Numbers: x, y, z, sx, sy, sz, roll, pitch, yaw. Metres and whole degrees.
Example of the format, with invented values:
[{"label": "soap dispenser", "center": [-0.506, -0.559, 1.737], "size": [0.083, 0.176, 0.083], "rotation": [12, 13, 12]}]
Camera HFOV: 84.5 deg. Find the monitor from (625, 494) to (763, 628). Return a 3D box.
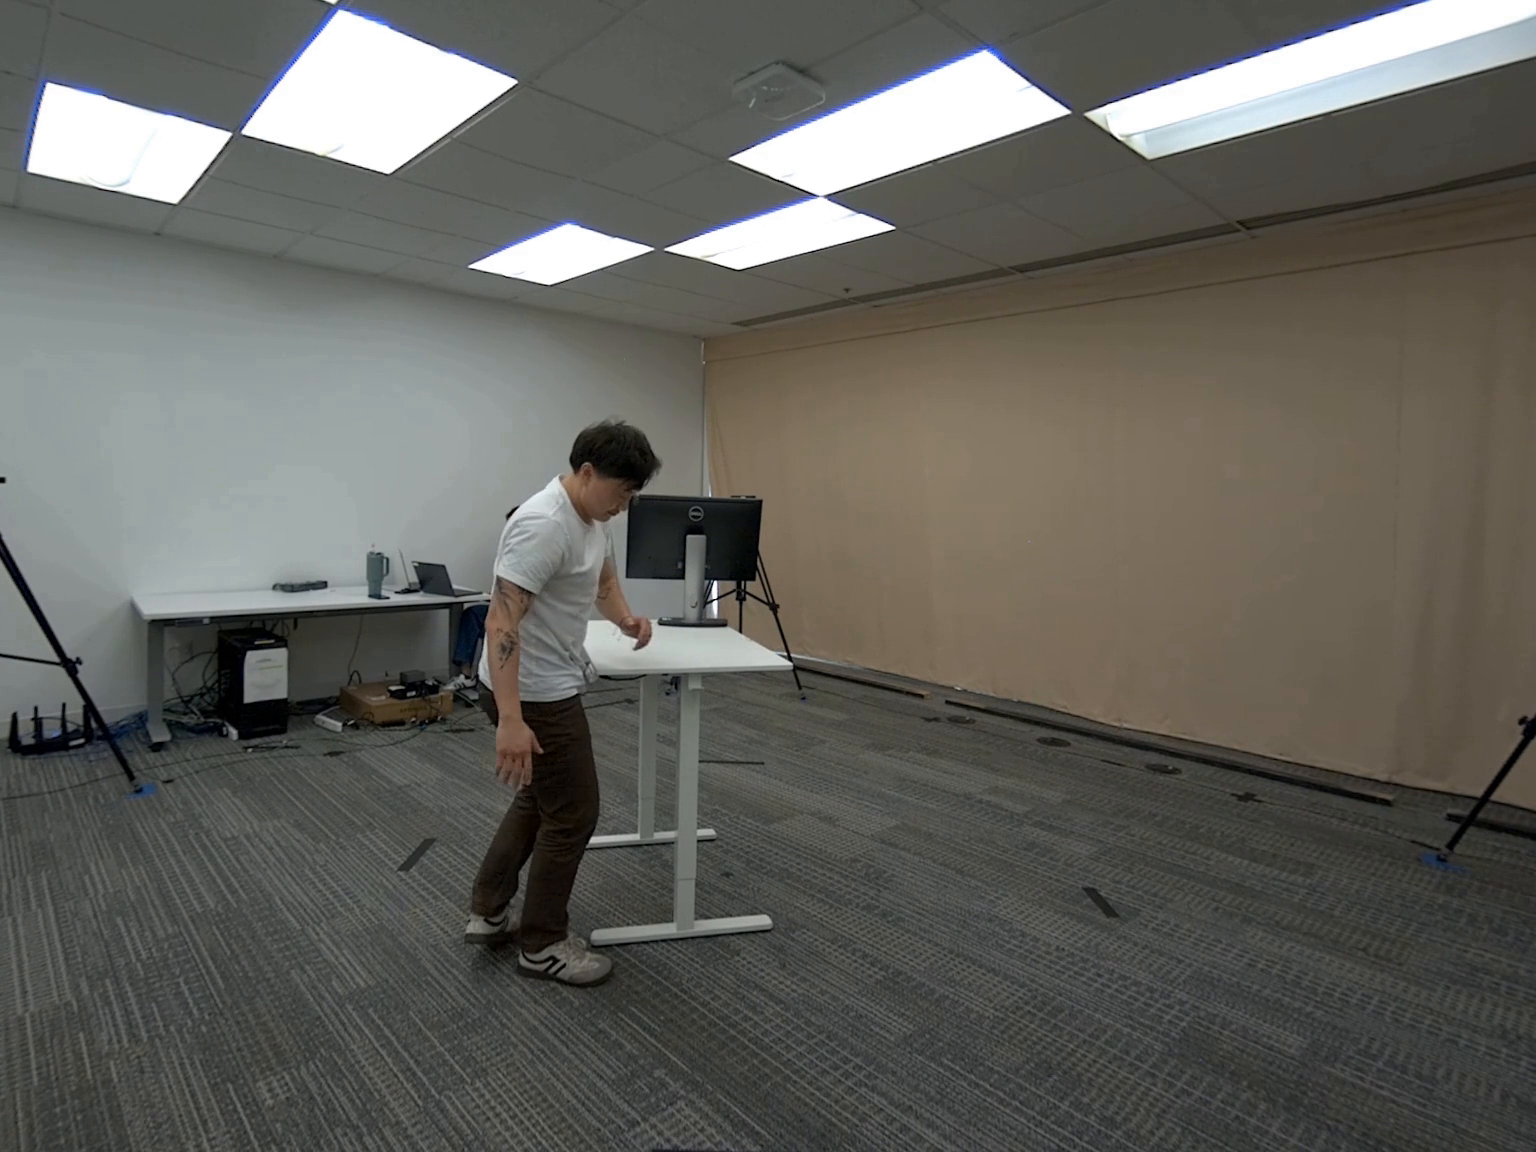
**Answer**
[{"label": "monitor", "center": [-0.301, -0.056, 3.363], "size": [0.534, 0.521, 0.189], "rotation": [1, 4, -11]}]
